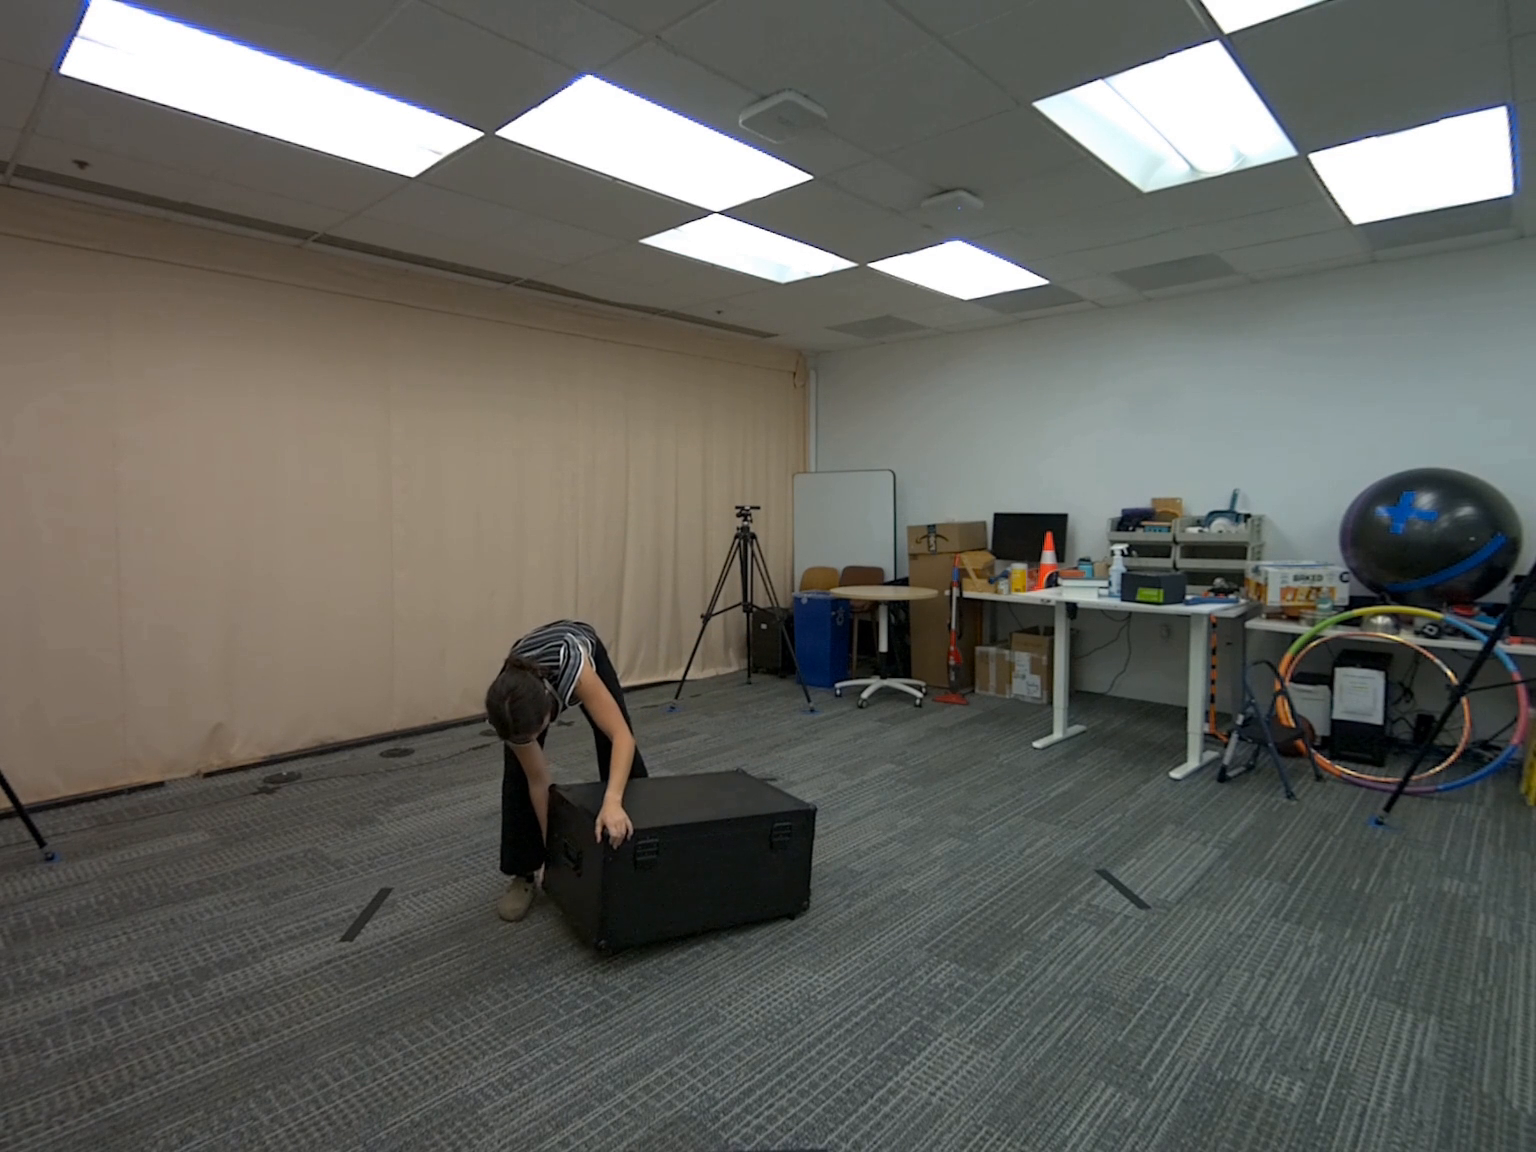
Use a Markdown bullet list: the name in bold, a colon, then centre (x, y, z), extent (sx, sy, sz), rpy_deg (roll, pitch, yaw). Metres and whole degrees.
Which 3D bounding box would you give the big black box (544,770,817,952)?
- **big black box**: centre (-0.267, 0.940, 2.878), extent (0.836, 0.396, 0.537), rpy_deg (3, 2, -33)
